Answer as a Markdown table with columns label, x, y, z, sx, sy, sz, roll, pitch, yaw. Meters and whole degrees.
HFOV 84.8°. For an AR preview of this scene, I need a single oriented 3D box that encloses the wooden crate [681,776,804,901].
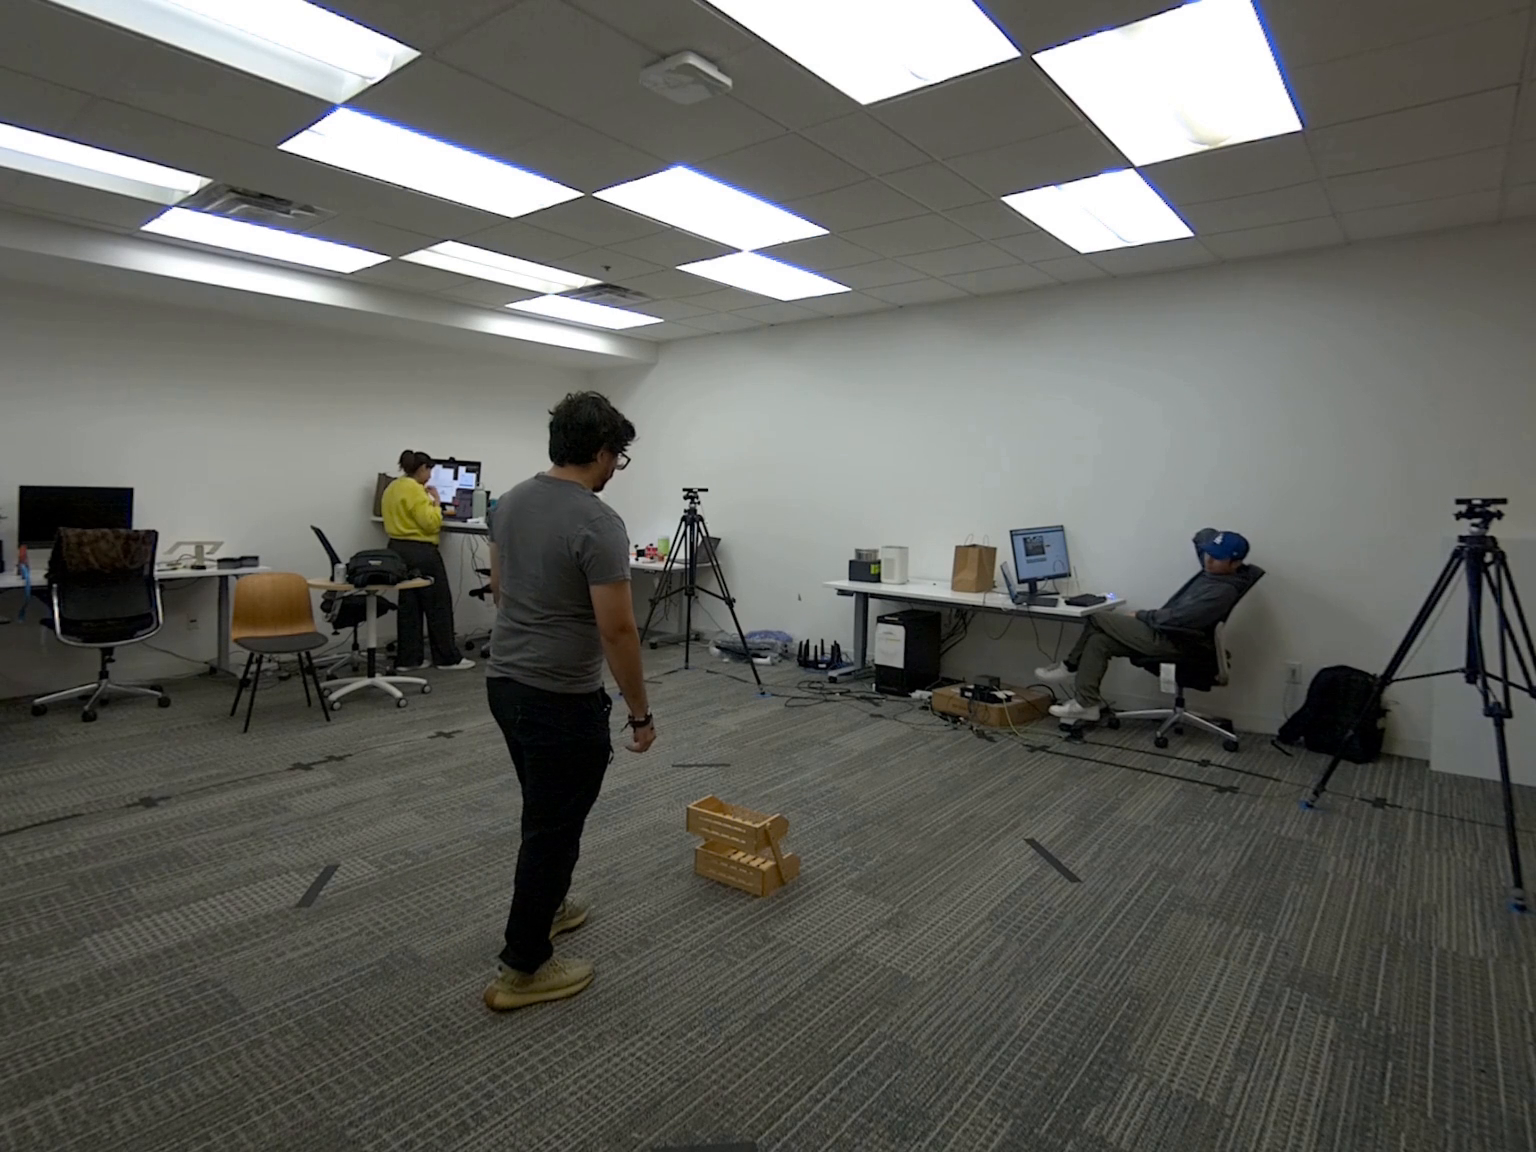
| label | x | y | z | sx | sy | sz | roll | pitch | yaw |
| --- | --- | --- | --- | --- | --- | --- | --- | --- | --- |
| wooden crate | -0.094 | 0.936 | 3.059 | 0.335 | 0.272 | 0.294 | 4 | 6 | 34 |
